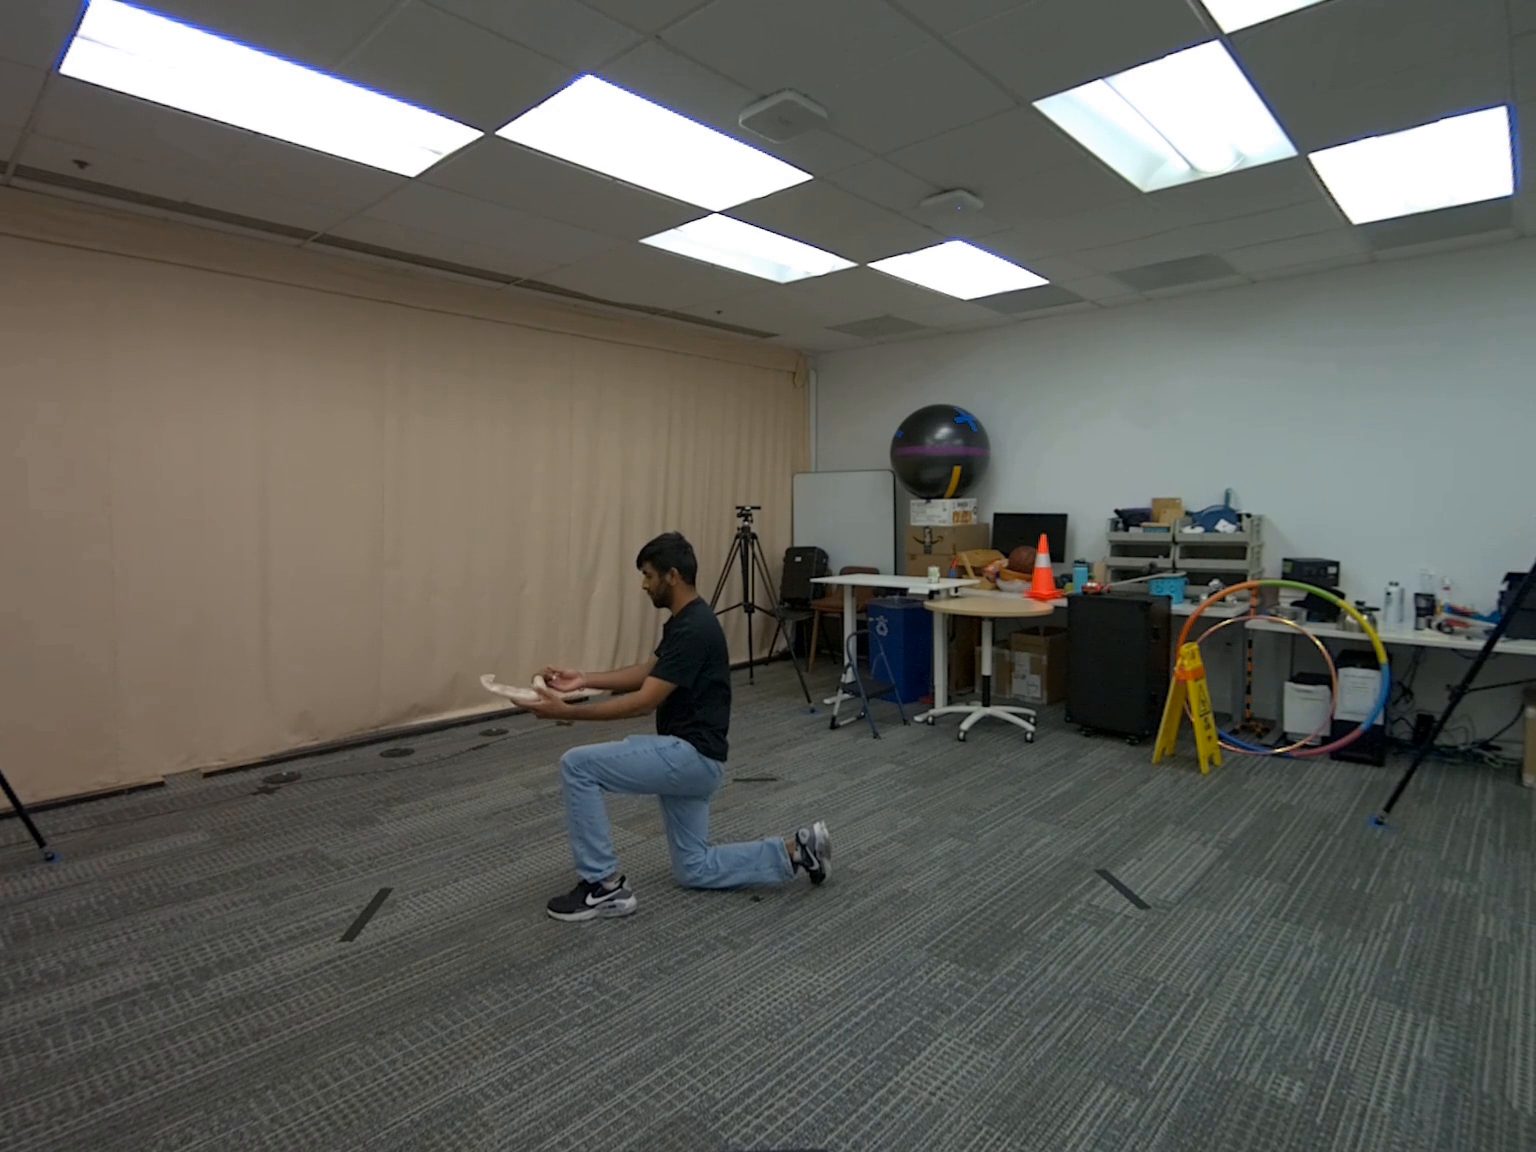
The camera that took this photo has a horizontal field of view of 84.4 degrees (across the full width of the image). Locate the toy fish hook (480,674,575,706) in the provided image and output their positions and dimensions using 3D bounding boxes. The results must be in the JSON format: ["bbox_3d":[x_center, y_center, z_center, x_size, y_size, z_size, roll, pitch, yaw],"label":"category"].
[{"bbox_3d":[-0.827,0.363,2.899,0.223,0.048,0.511,19,0,-8],"label":"toy fish hook"}]
